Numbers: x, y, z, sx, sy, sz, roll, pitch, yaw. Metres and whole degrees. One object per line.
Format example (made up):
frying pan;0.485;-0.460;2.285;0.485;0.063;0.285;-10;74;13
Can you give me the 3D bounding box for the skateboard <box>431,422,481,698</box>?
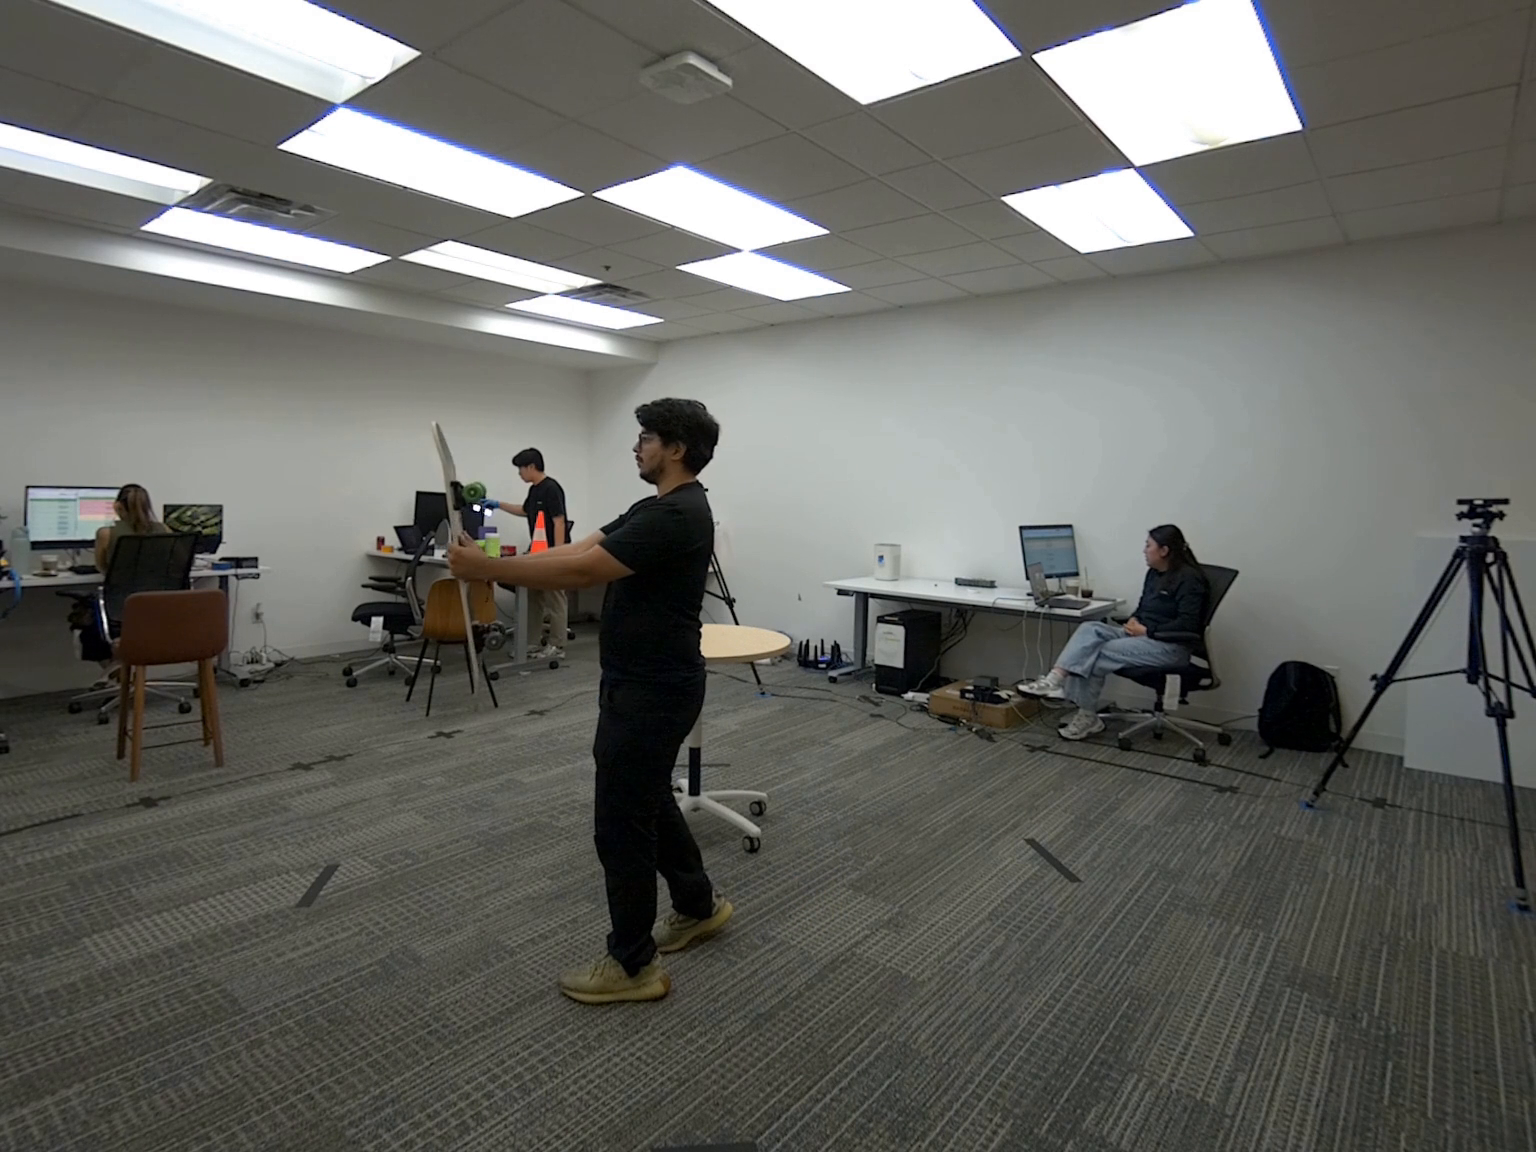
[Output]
skateboard;-0.810;-0.026;2.314;0.109;0.780;0.197;-8;6;-15
